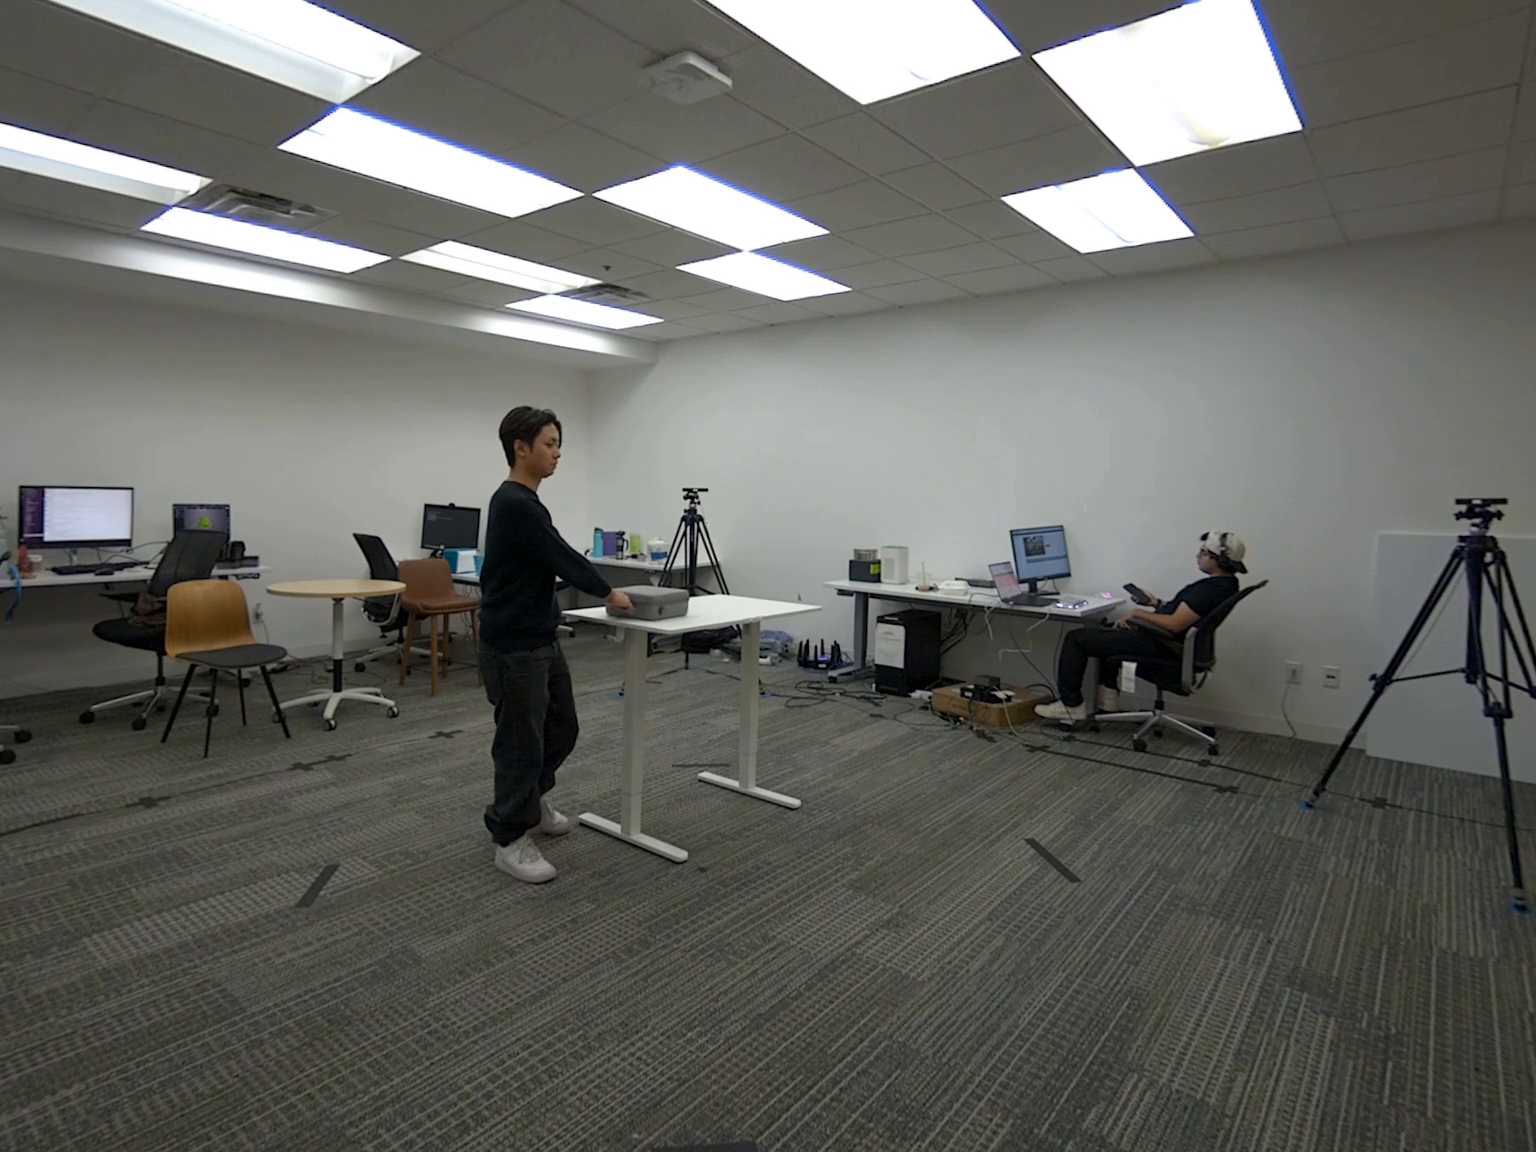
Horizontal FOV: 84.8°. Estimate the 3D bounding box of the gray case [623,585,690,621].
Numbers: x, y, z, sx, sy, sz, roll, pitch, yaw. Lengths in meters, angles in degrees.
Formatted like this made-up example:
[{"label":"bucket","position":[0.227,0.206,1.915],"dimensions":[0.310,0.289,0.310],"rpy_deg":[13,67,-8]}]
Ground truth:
[{"label":"gray case","position":[-0.485,0.104,3.371],"dimensions":[0.265,0.104,0.254],"rpy_deg":[6,7,31]}]
